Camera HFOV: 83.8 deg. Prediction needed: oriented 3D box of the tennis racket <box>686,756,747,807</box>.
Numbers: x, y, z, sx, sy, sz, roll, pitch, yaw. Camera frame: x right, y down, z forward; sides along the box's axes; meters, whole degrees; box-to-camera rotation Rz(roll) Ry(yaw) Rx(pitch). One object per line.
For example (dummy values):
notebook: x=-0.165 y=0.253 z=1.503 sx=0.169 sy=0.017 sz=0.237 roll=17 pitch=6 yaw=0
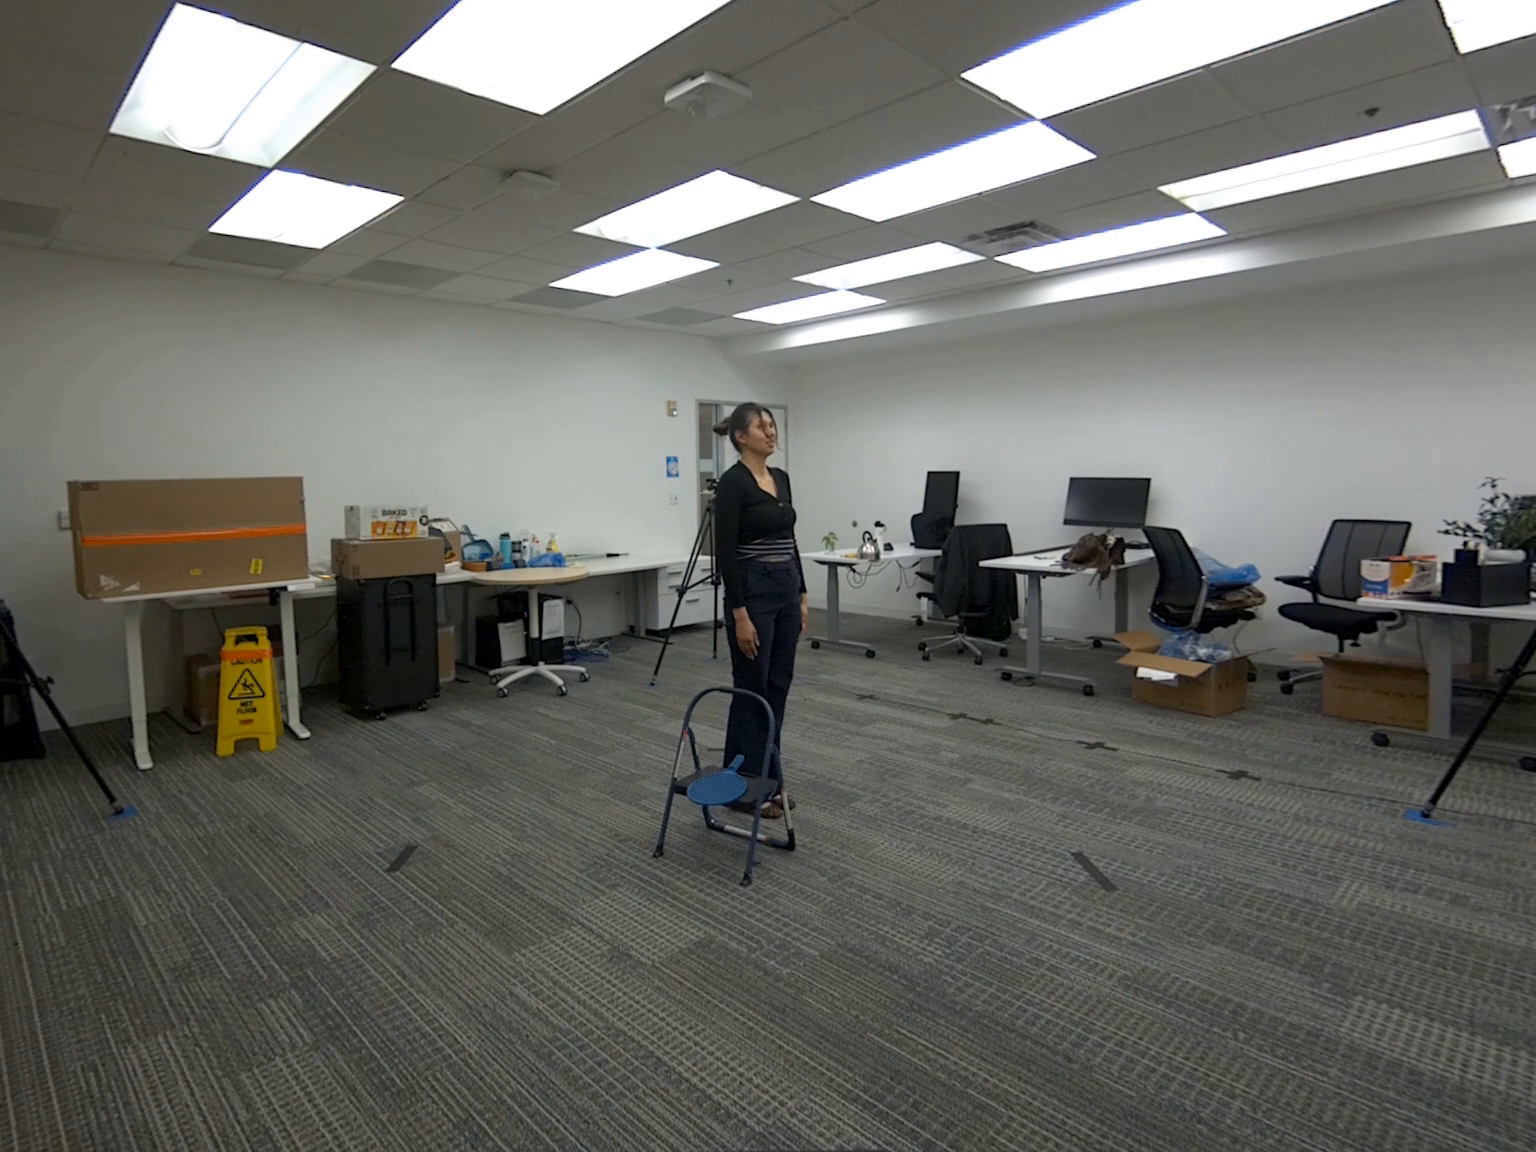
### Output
tennis racket: x=-0.172 y=0.769 z=3.200 sx=0.215 sy=0.031 sz=0.433 roll=-2 pitch=9 yaw=6
